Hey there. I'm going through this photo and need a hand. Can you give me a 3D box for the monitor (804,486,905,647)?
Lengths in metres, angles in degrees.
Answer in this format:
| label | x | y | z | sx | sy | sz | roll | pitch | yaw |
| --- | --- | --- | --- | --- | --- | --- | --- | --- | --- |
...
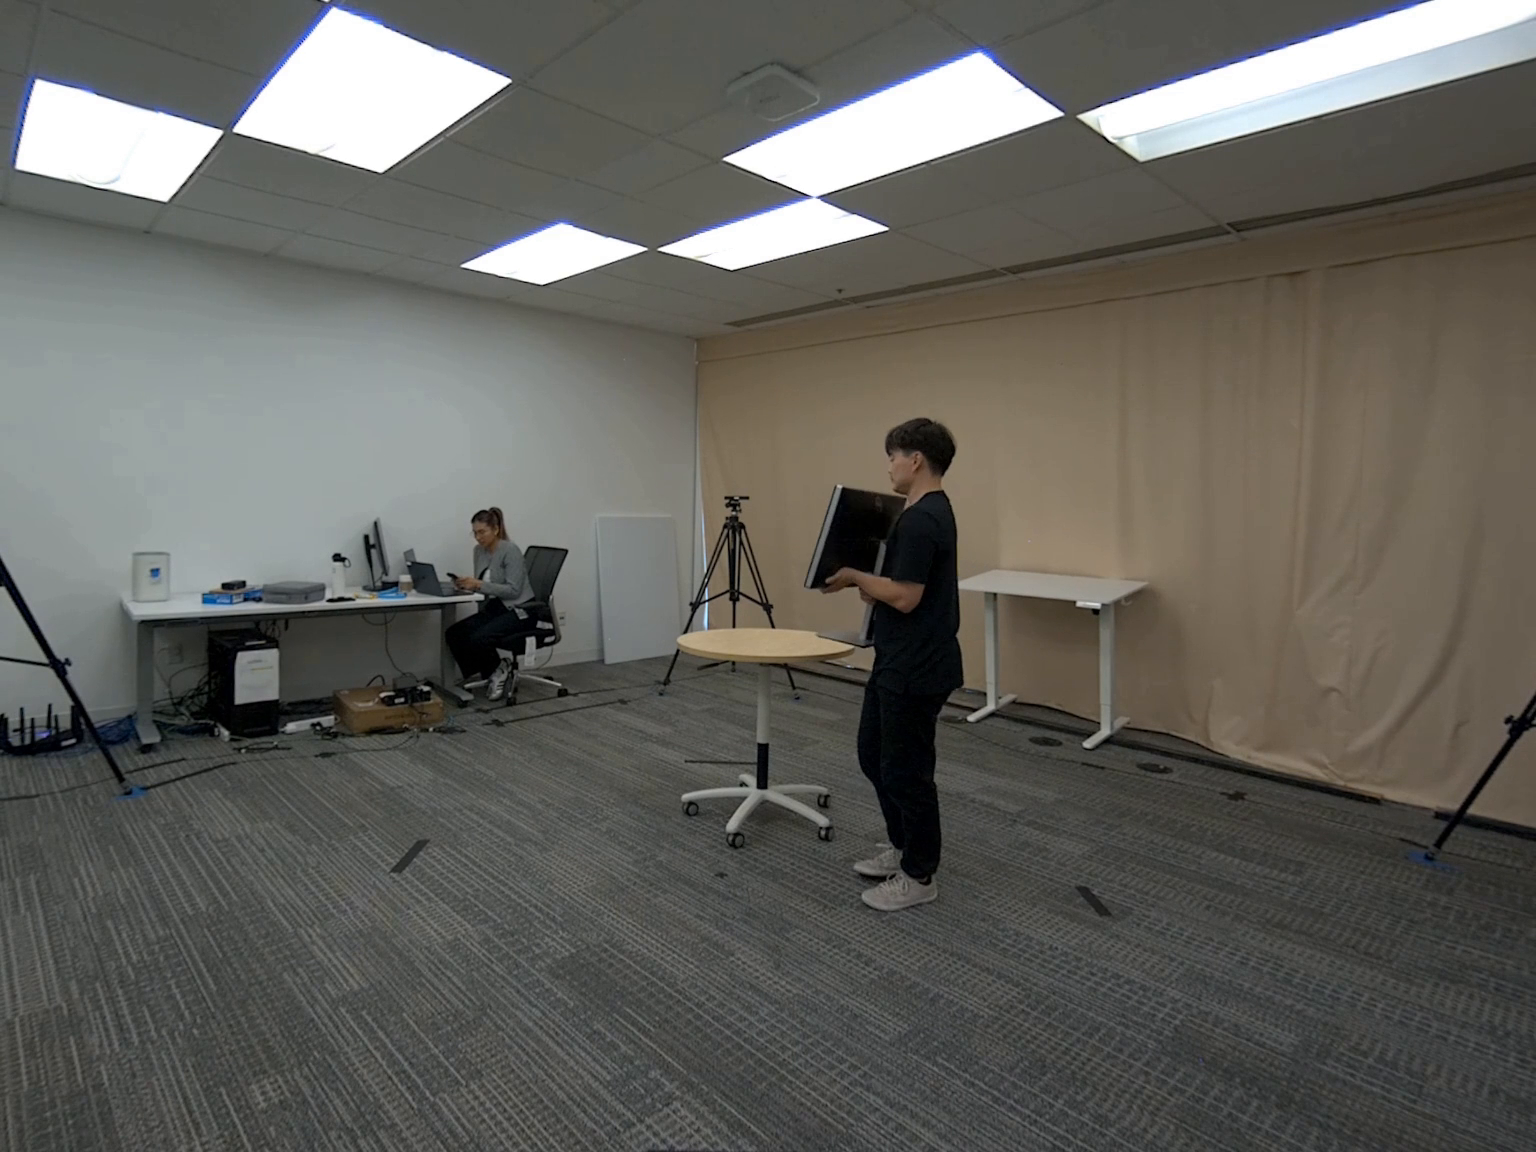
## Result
| label | x | y | z | sx | sy | sz | roll | pitch | yaw |
| --- | --- | --- | --- | --- | --- | --- | --- | --- | --- |
| monitor | 0.337 | -0.040 | 3.027 | 0.192 | 0.521 | 0.527 | 10 | 5 | 32 |
